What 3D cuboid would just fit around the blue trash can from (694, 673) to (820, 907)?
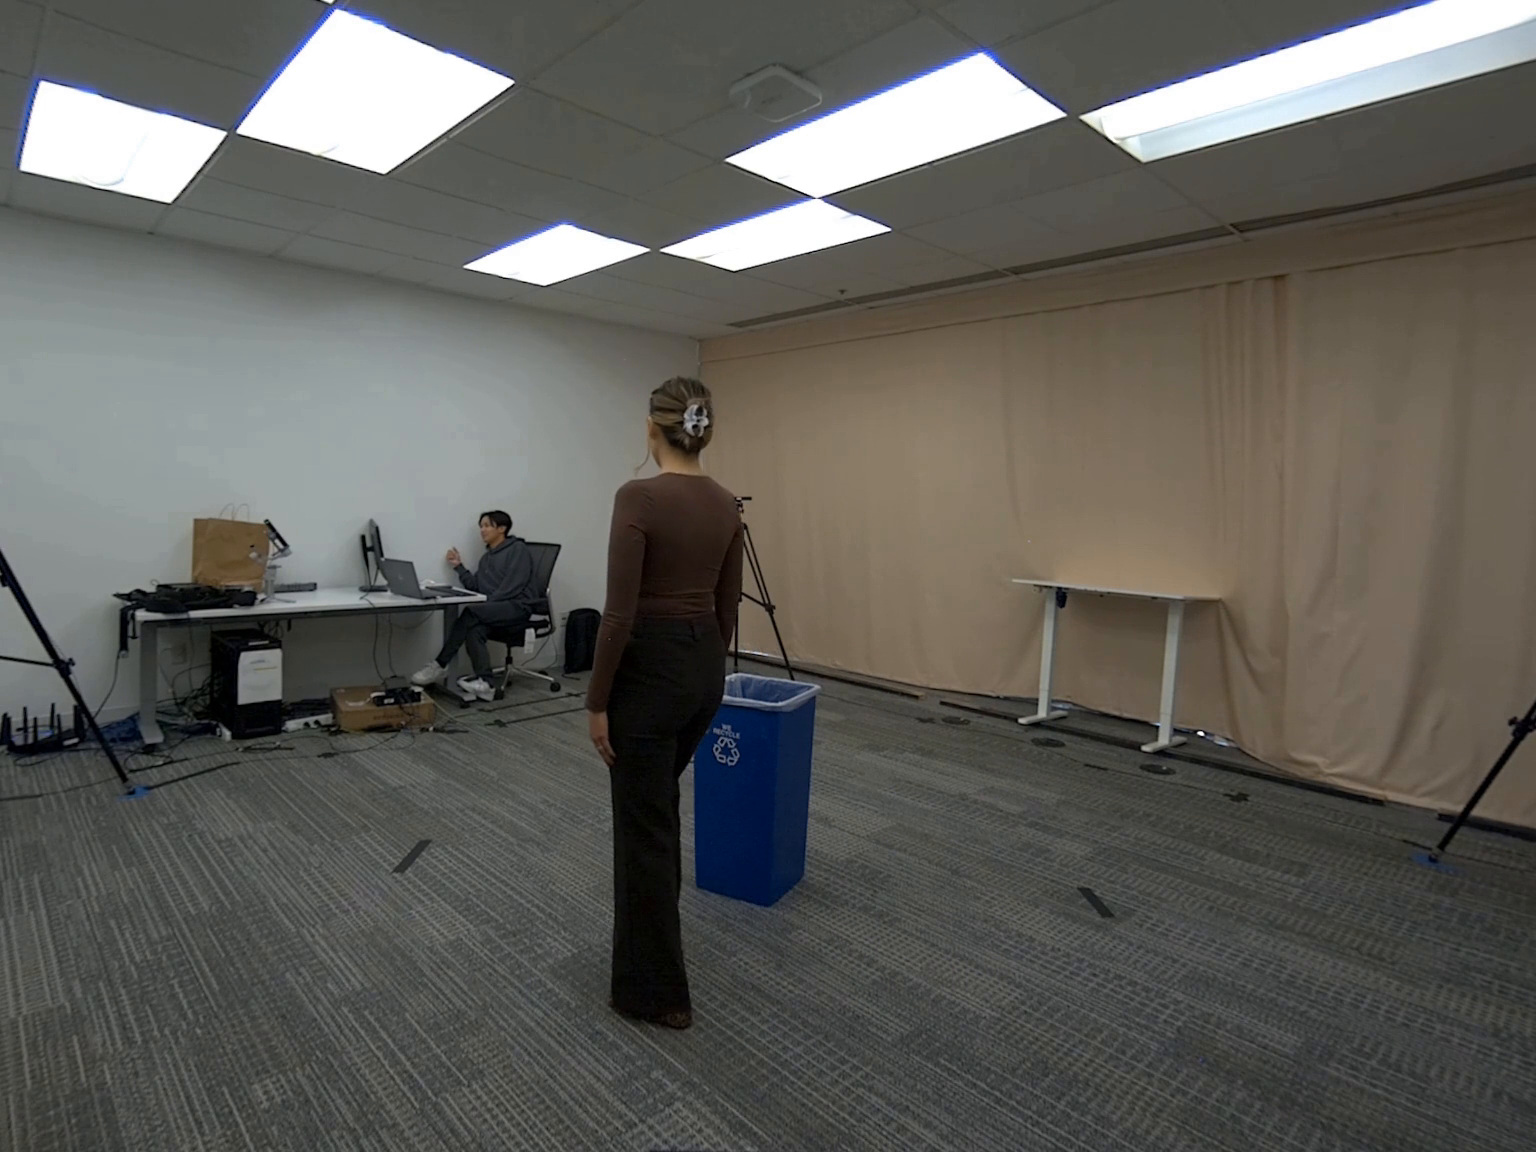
[{"bbox_3d":[-0.060,0.754,3.048,0.386,0.711,0.368,3,5,27],"label":"blue trash can"}]
